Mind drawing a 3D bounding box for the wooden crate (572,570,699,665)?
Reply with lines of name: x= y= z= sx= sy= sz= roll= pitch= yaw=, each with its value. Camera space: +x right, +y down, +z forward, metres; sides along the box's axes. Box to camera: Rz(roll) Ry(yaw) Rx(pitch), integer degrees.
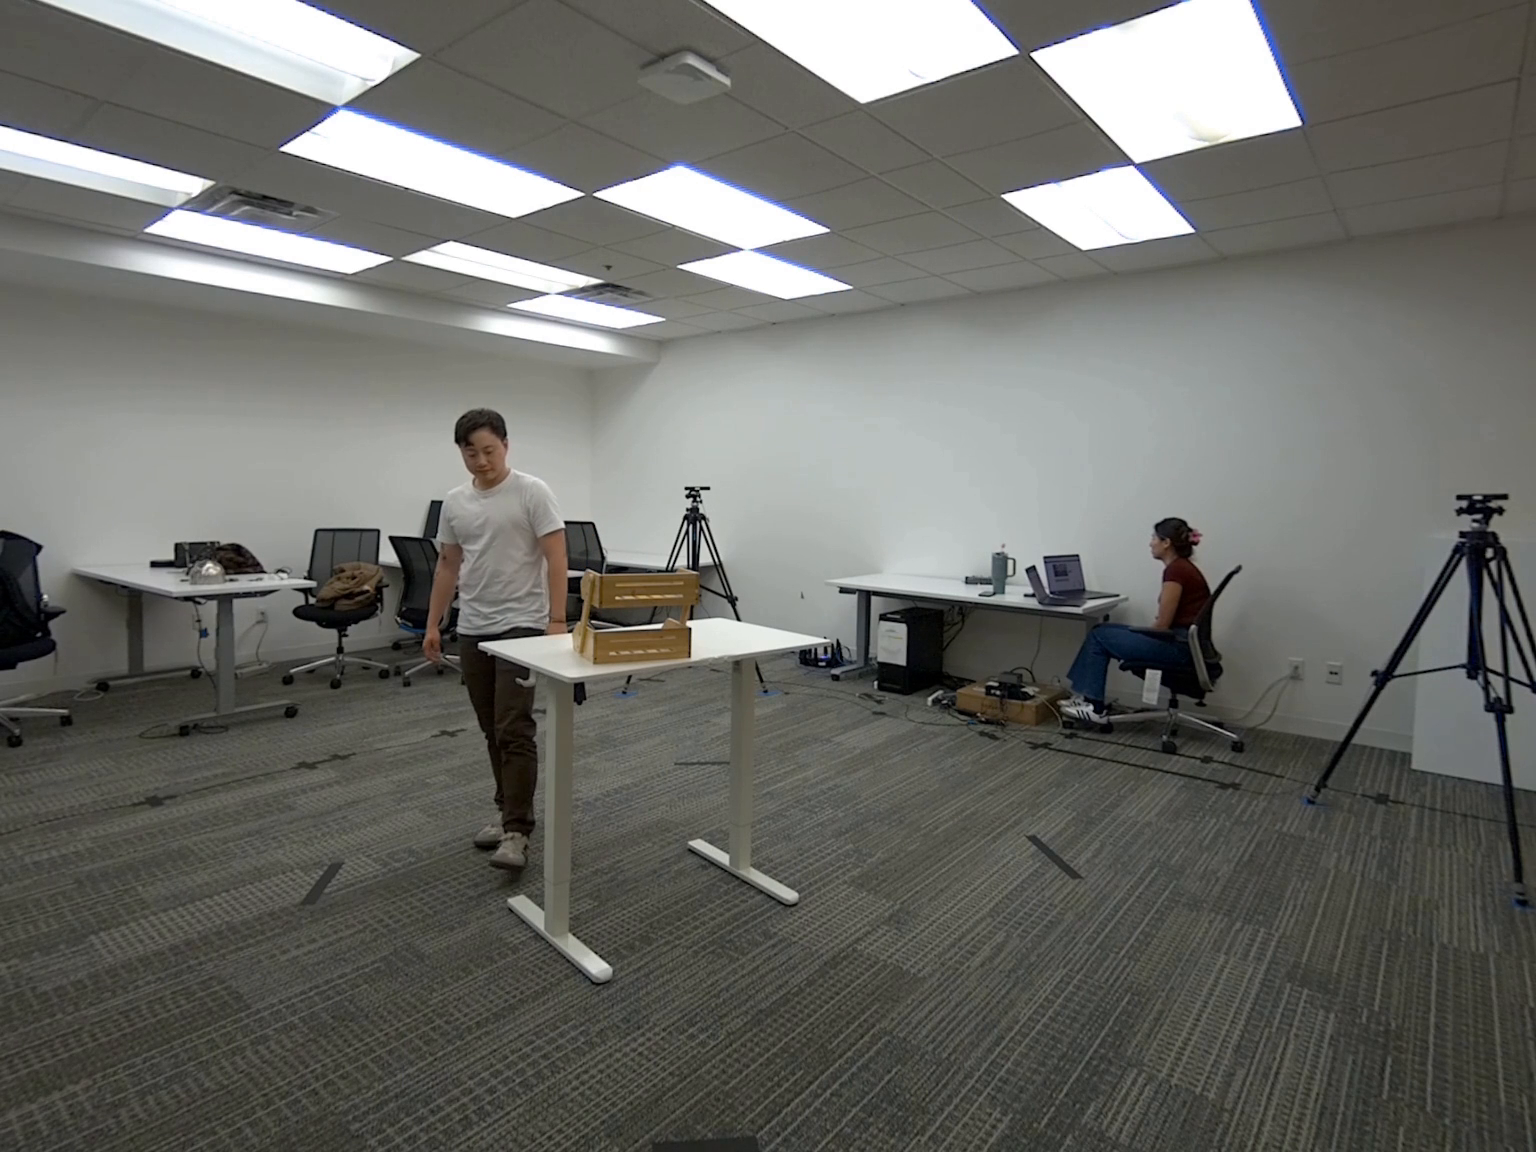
wooden crate: x=-0.424 y=0.104 z=2.561 sx=0.317 sy=0.272 sz=0.311 roll=-1 pitch=6 yaw=-26
